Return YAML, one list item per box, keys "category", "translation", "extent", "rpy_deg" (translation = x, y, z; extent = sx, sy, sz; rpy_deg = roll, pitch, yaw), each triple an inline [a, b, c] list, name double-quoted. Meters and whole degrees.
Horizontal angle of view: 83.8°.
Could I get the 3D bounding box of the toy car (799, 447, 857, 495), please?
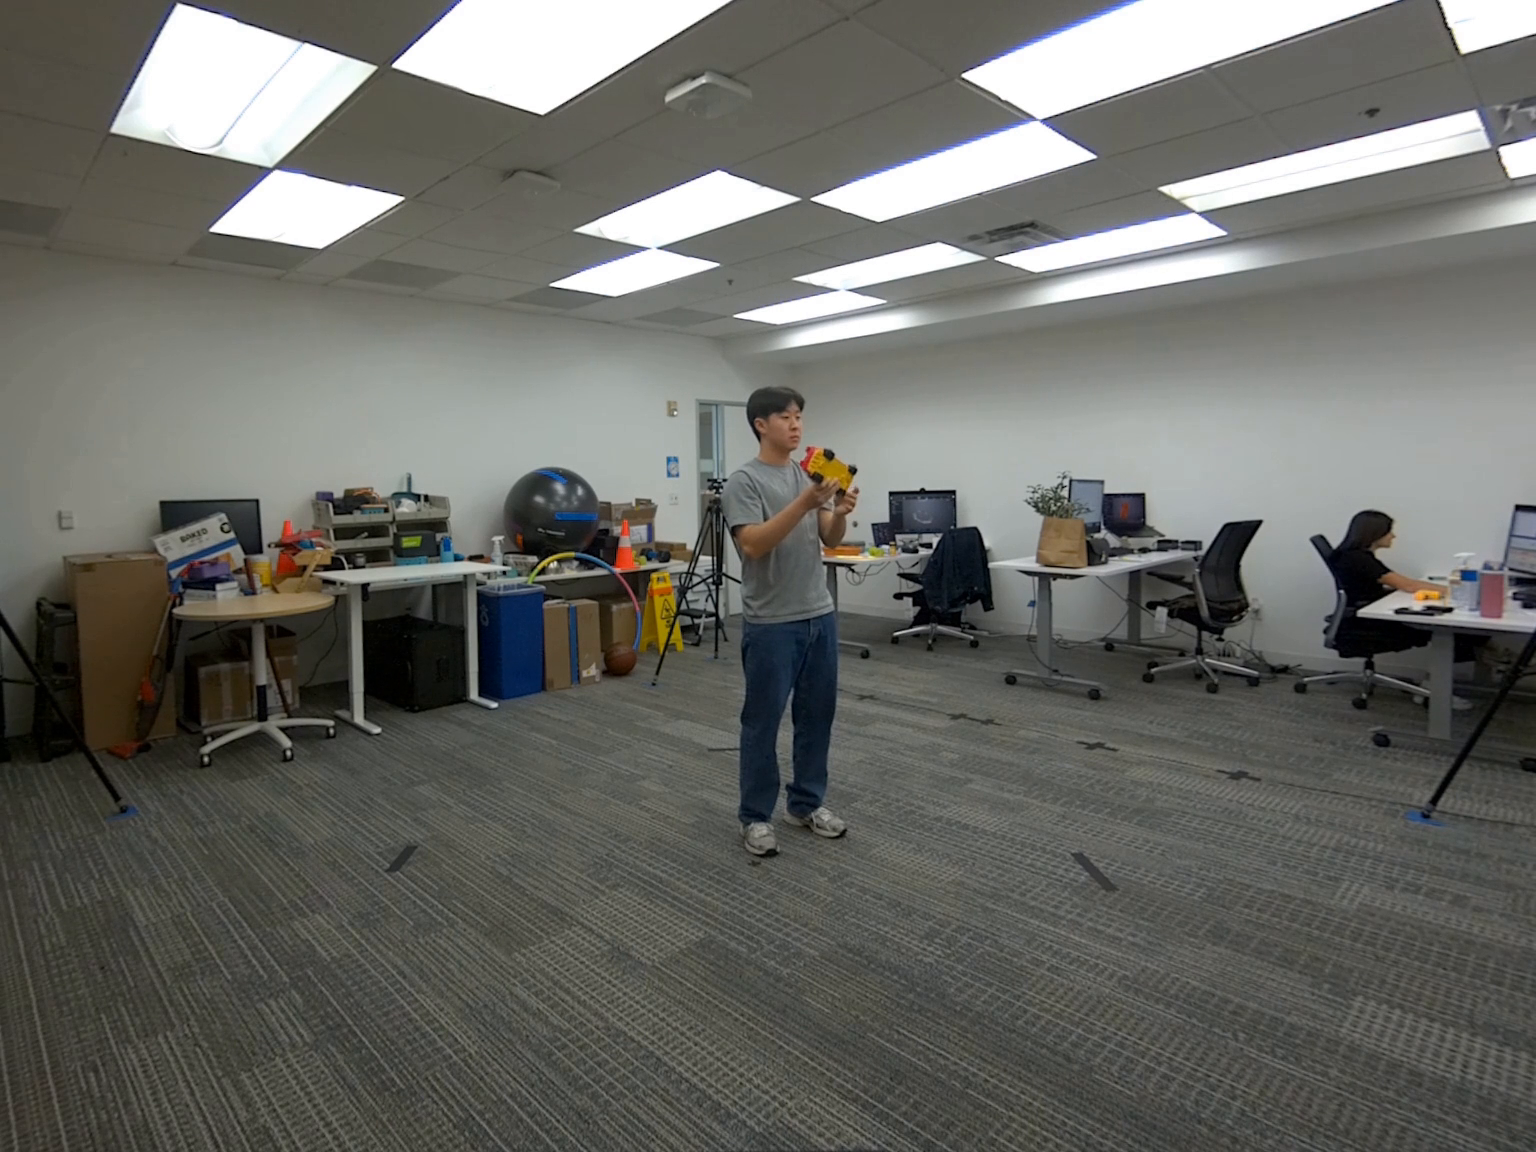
- category: "toy car"
  translation: [0.212, -0.367, 2.977]
  extent: [0.246, 0.130, 0.086]
  rpy_deg: [25, 1, -33]
